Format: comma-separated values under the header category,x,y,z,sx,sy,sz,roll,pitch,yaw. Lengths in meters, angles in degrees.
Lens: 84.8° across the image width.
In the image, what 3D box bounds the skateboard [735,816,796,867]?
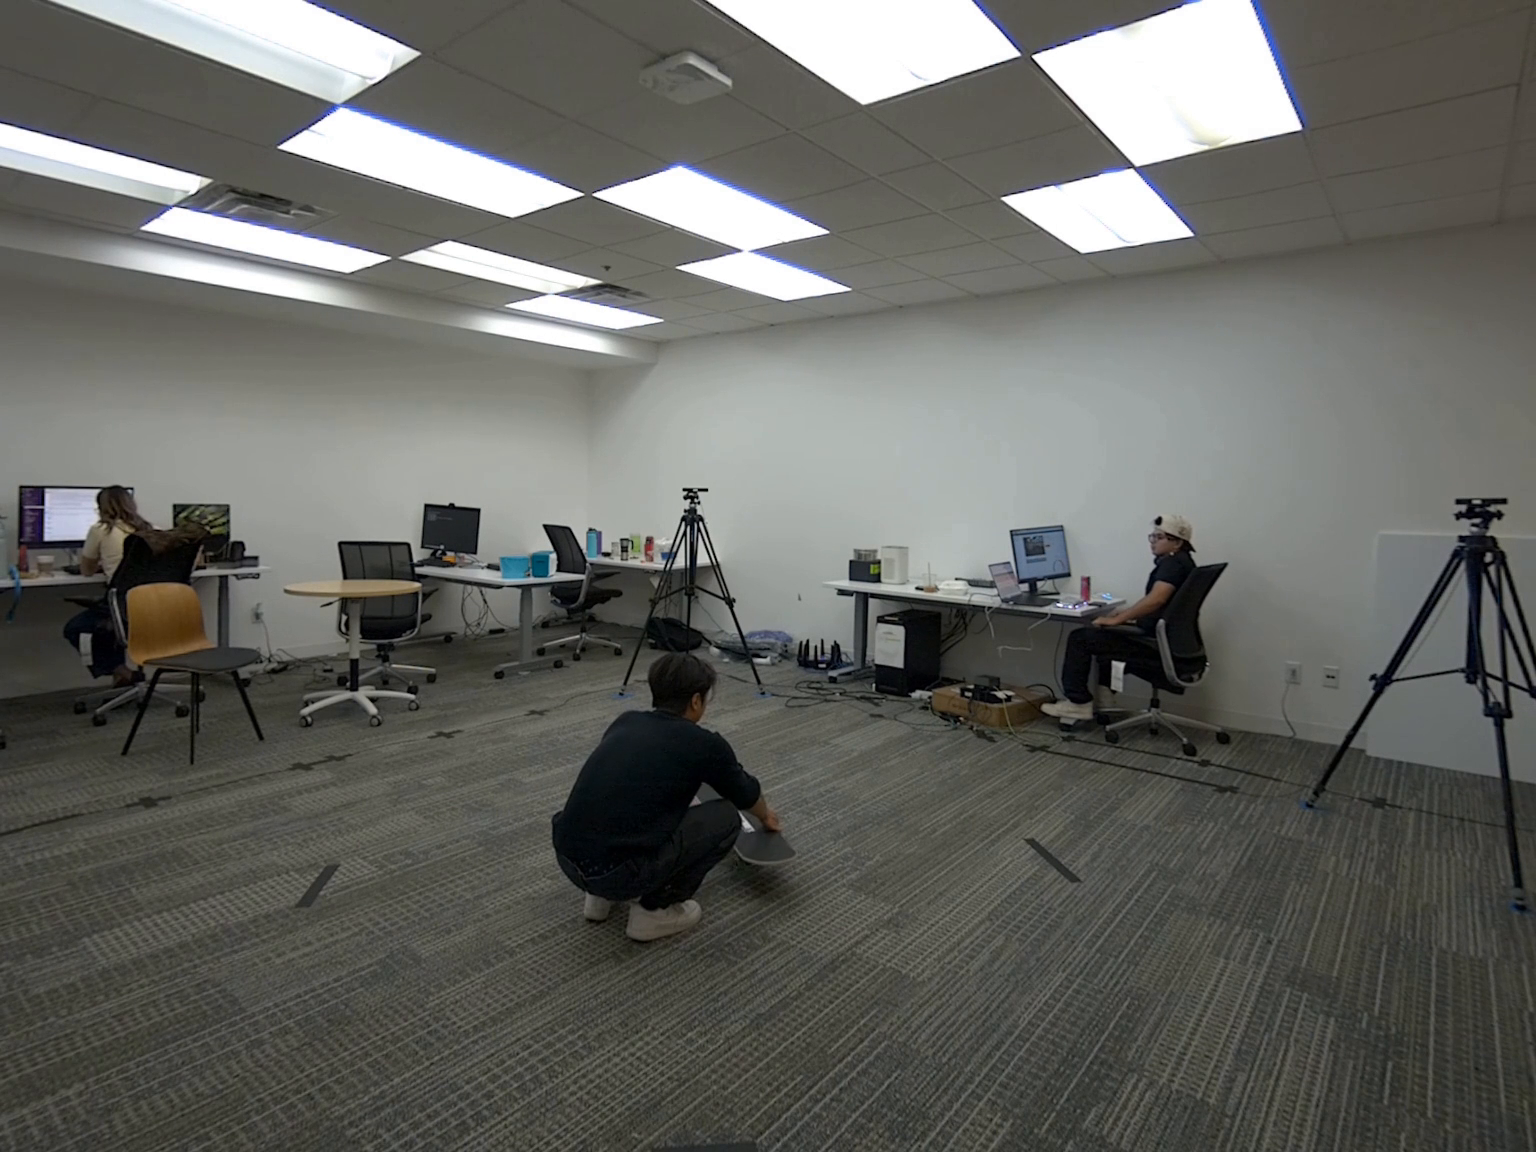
category,x,y,z,sx,sy,sz,roll,pitch,yaw
skateboard,-0.109,0.961,3.225,0.190,0.110,0.803,-2,7,-18
